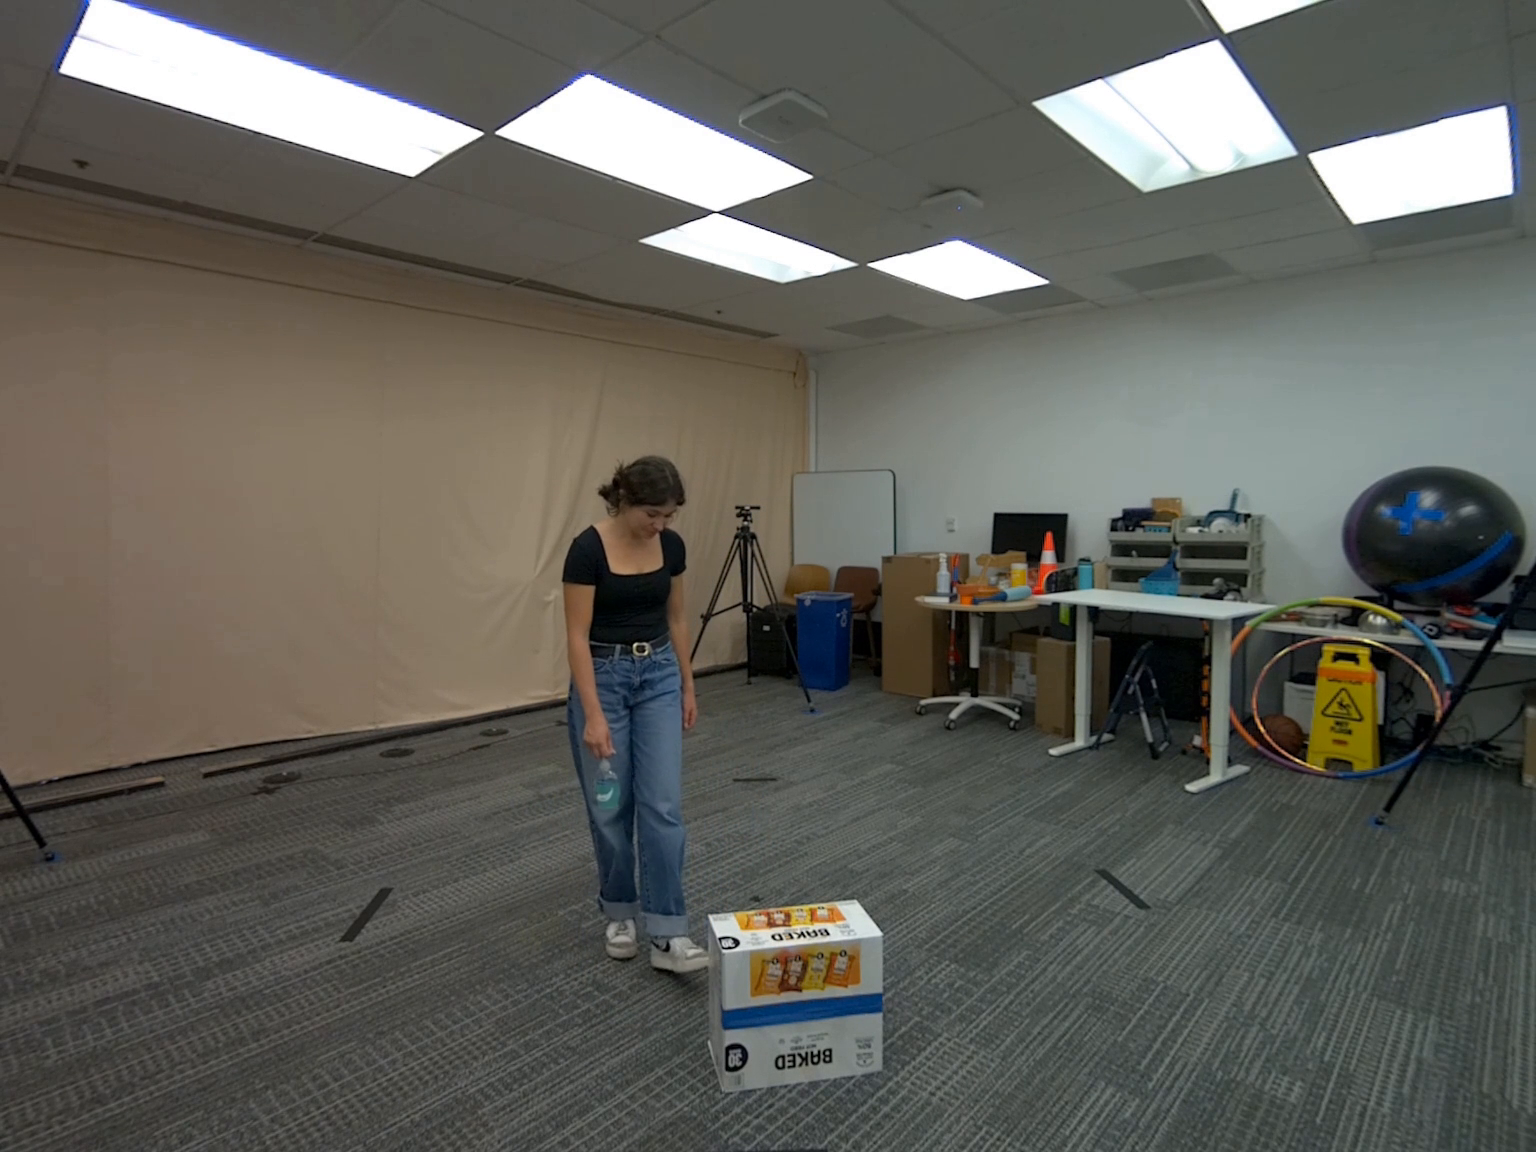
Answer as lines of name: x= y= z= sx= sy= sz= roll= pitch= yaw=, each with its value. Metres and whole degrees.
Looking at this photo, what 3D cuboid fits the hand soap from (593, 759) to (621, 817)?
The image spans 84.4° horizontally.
hand soap: x=-0.461 y=0.588 z=2.432 sx=0.087 sy=0.168 sz=0.042 roll=1 pitch=1 yaw=26
